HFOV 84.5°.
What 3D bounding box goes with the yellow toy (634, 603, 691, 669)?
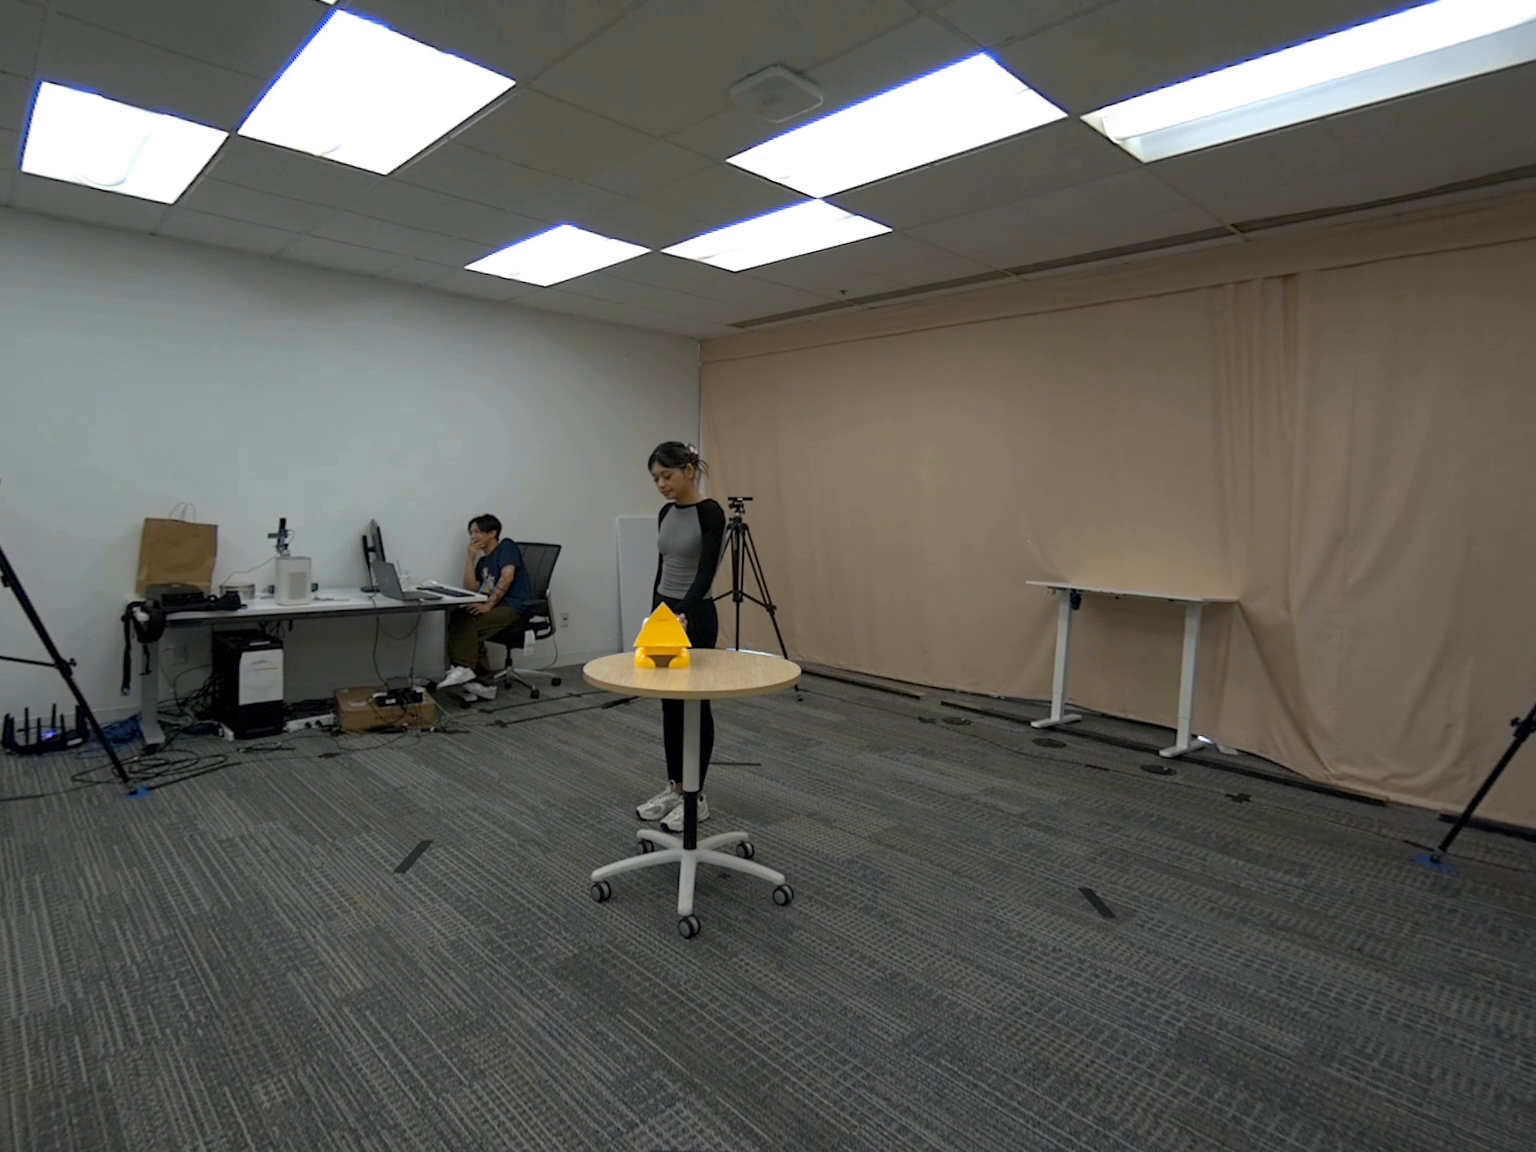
[{"bbox_3d":[-0.401,0.203,3.030,0.204,0.230,0.195,1,6,-7],"label":"yellow toy"}]
